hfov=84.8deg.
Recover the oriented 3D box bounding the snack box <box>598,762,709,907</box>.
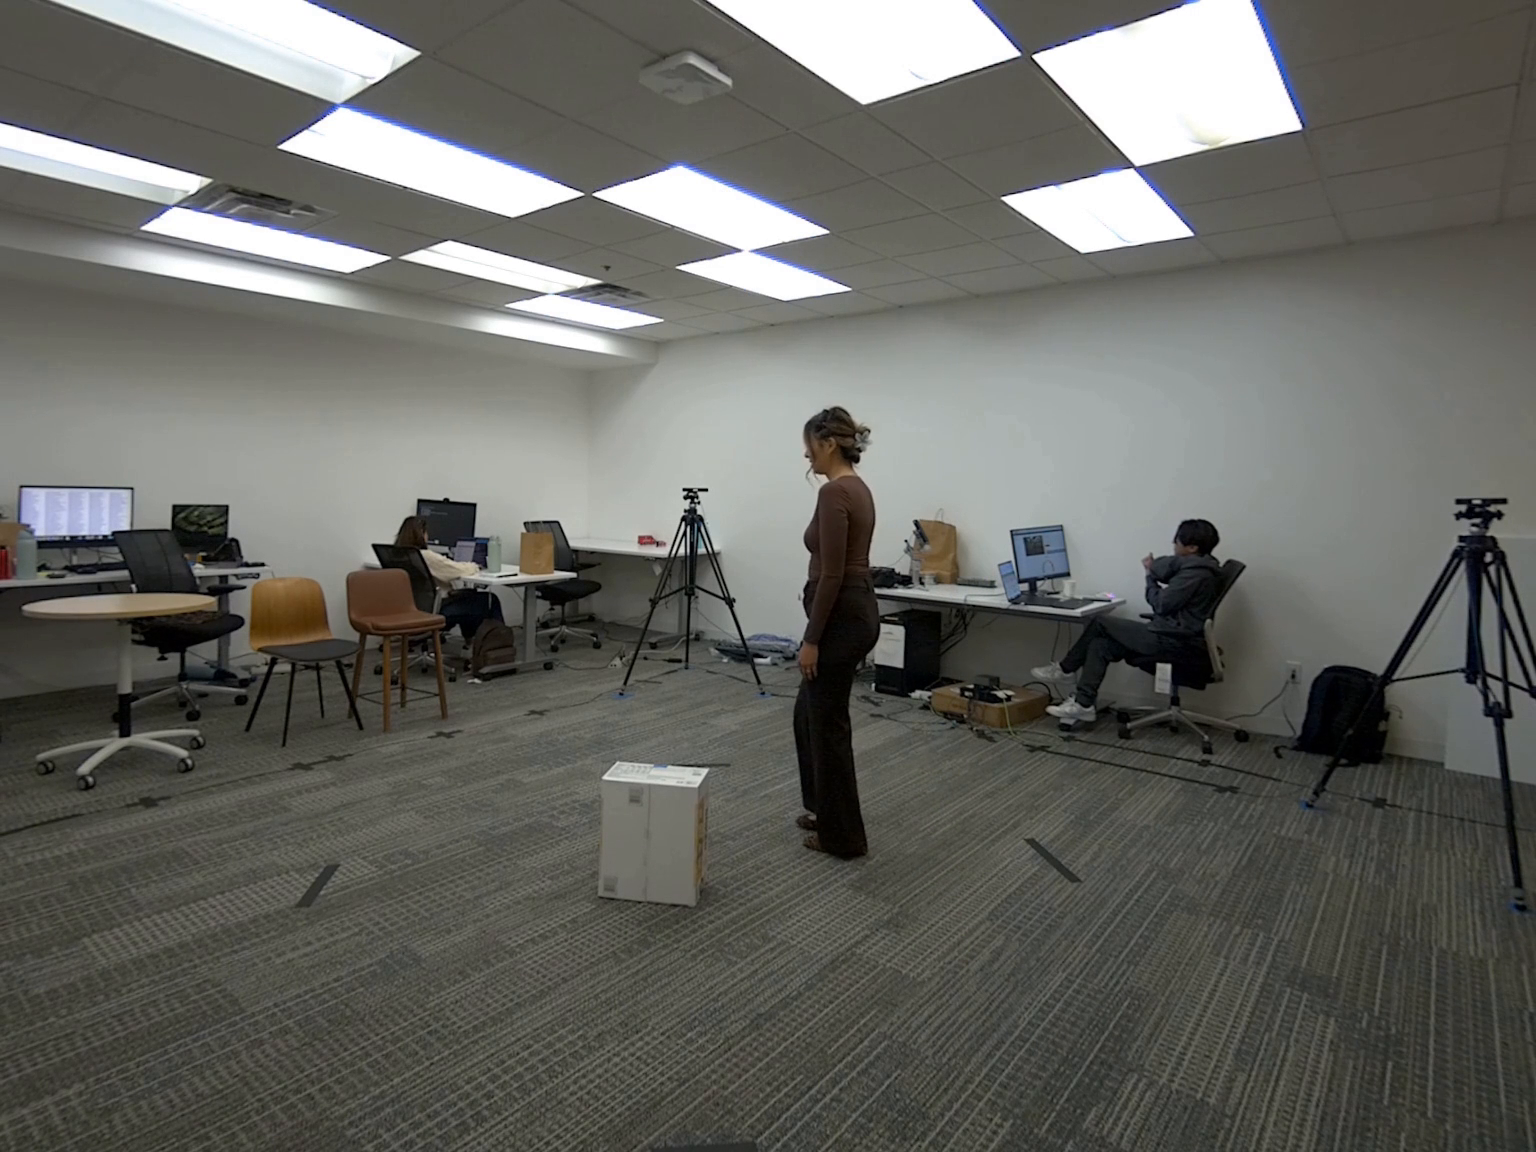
[{"bbox_3d":[-0.402,0.878,2.936,0.344,0.404,0.204,2,3,9],"label":"snack box"}]
